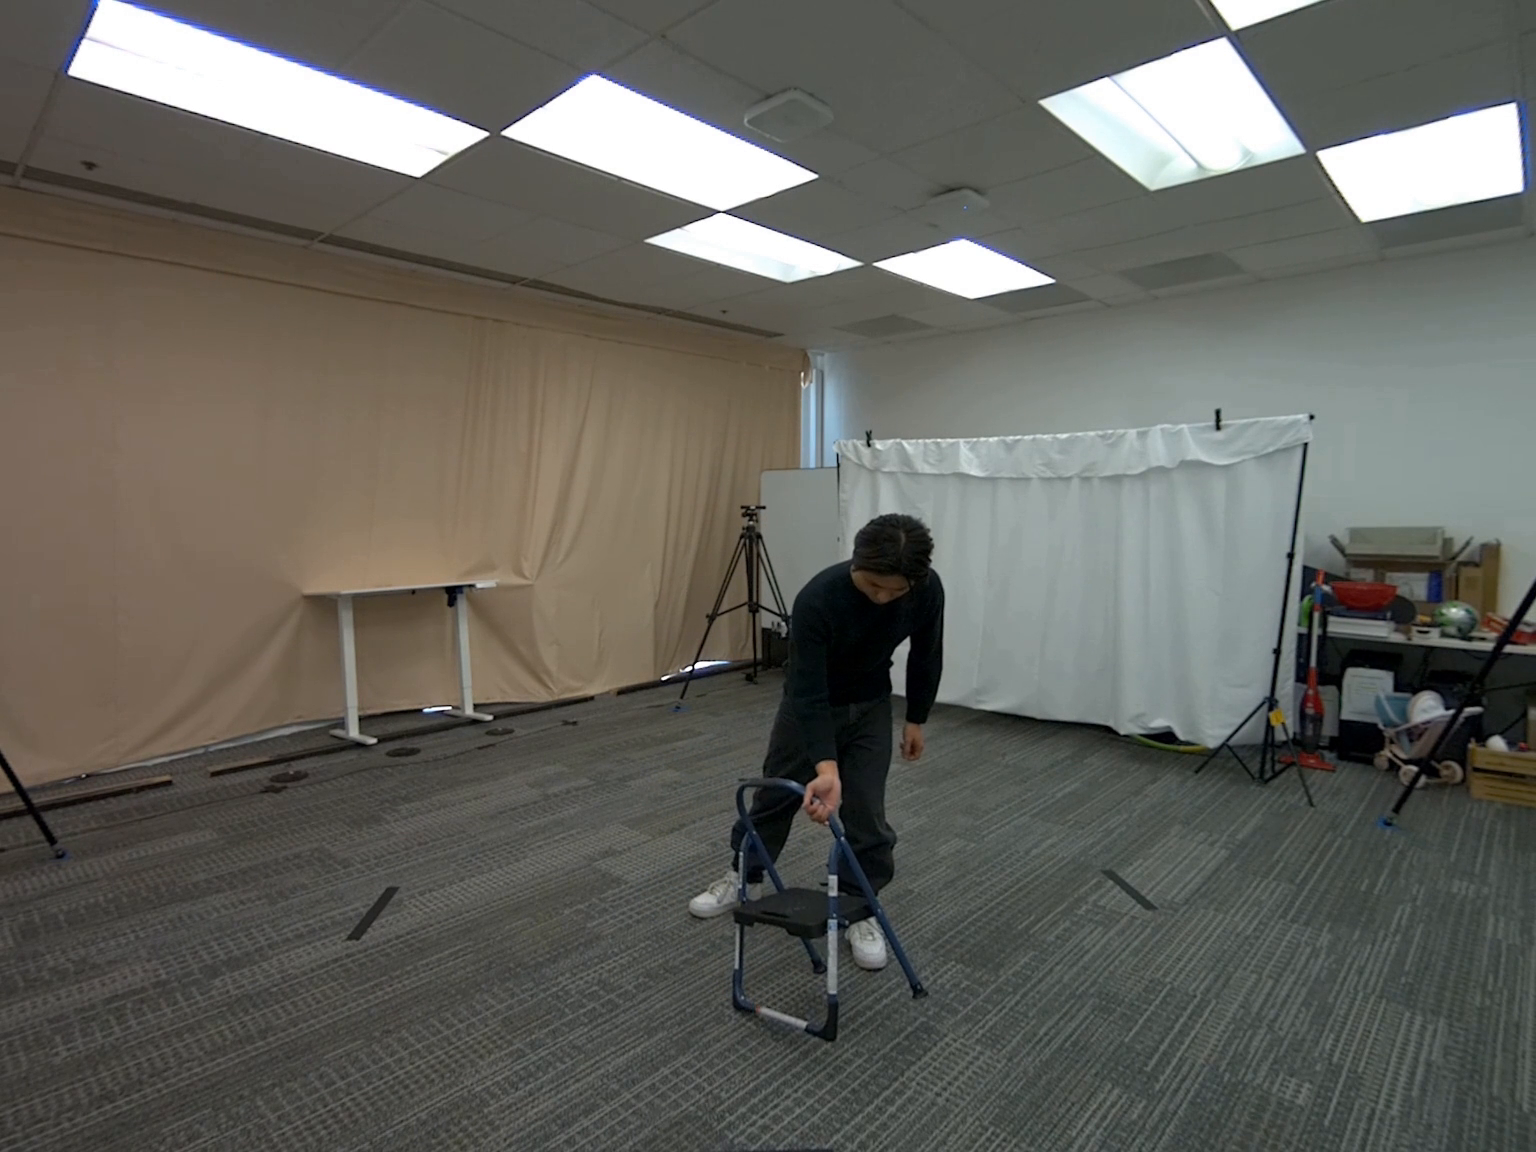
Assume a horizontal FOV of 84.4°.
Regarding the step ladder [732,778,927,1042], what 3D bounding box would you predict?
[{"bbox_3d":[0.106,0.852,2.320,0.339,0.610,0.441,-3,-11,-39],"label":"step ladder"}]
